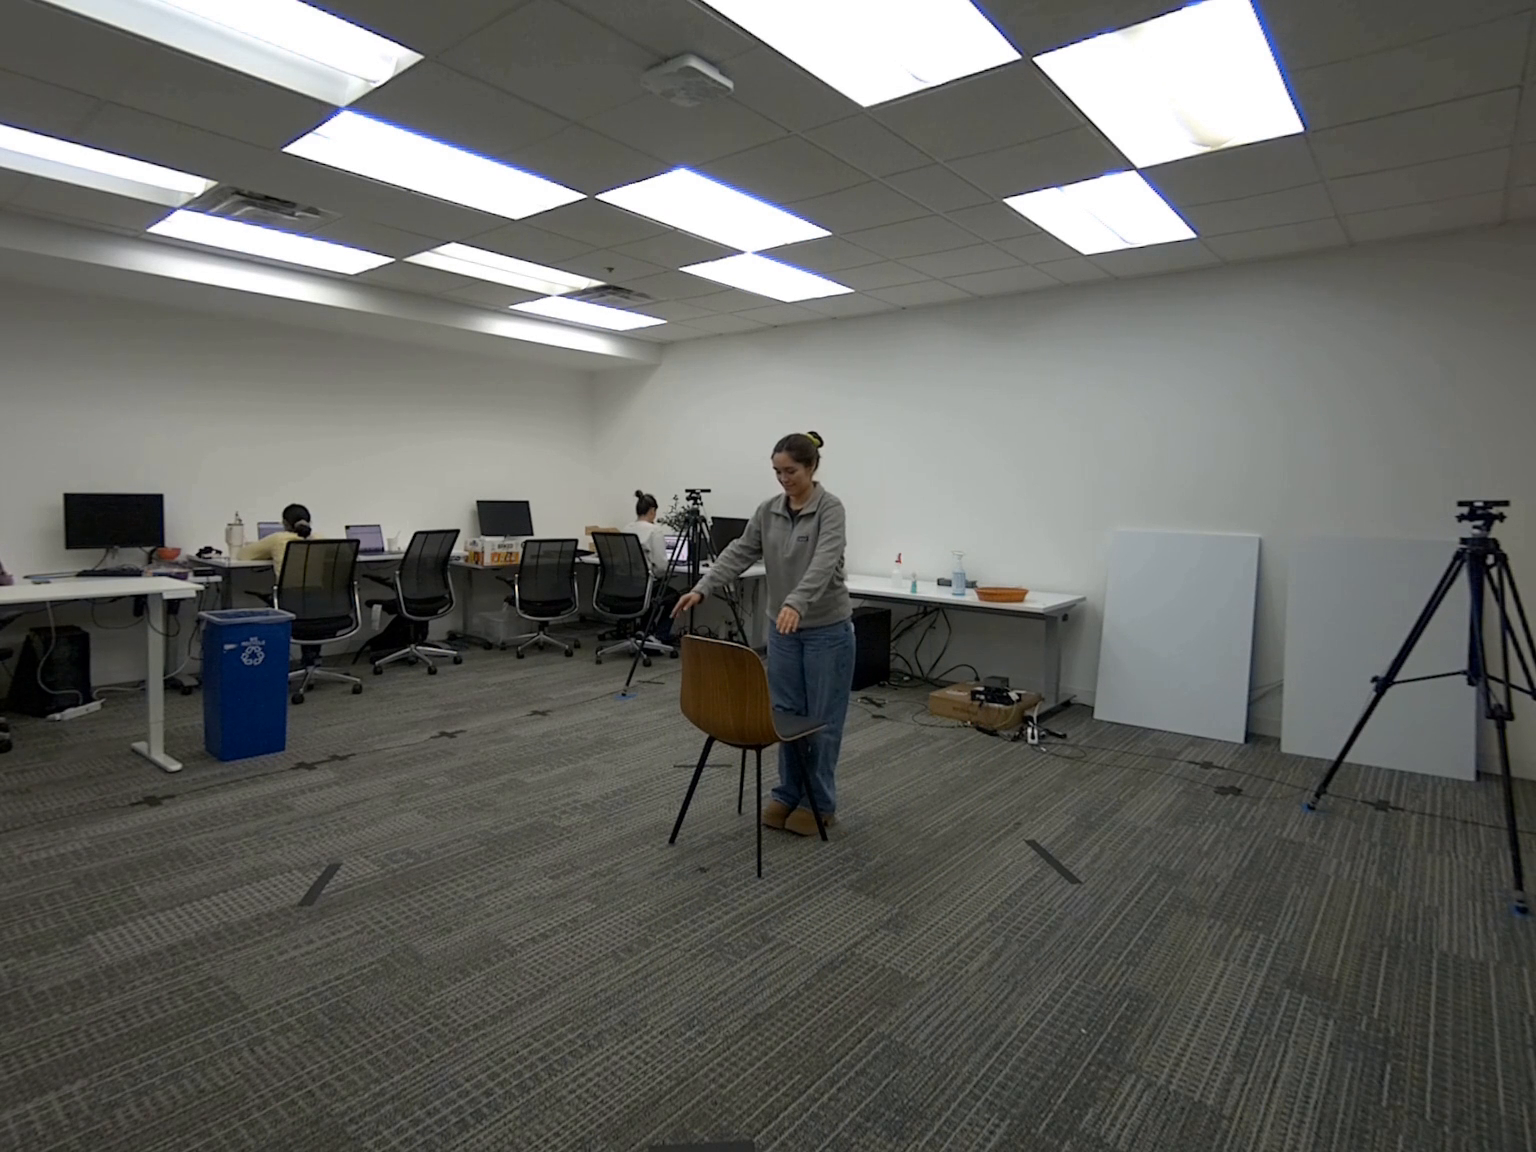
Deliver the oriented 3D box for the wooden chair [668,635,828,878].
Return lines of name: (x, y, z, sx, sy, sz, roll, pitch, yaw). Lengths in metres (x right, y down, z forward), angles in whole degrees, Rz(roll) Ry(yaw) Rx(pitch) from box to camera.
wooden chair: (-0.076, 0.628, 3.345, 0.494, 0.872, 0.509, 3, 8, 38)
